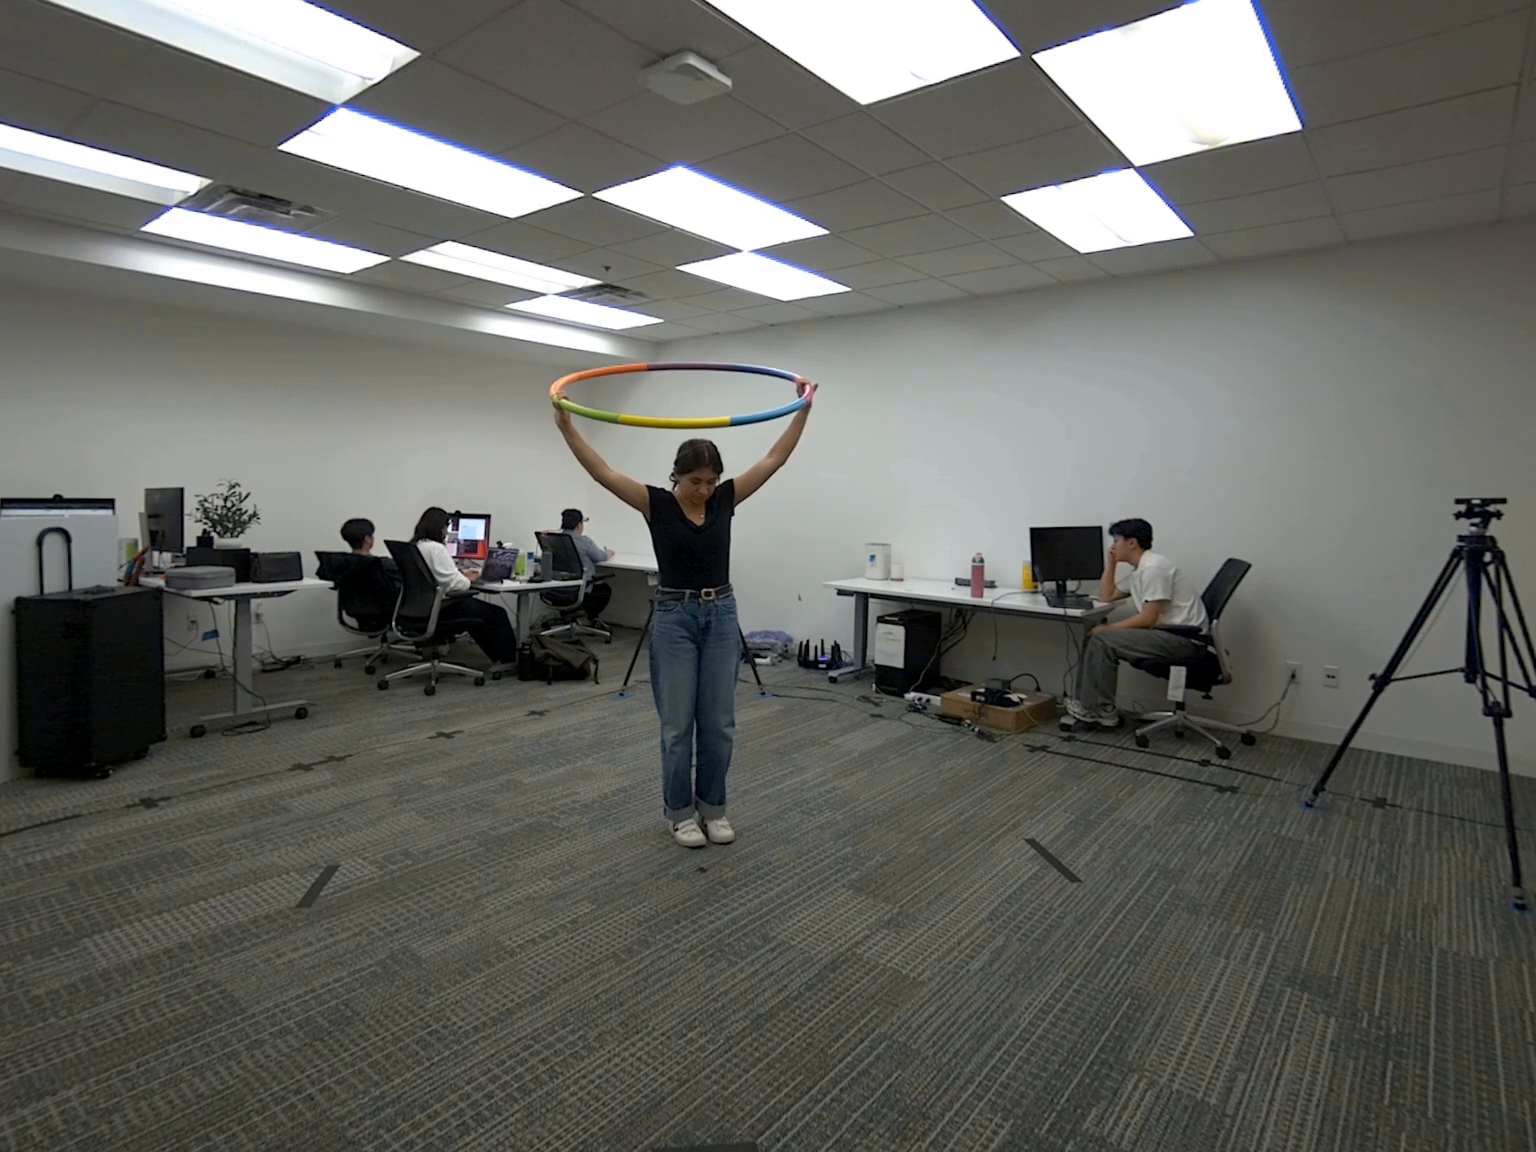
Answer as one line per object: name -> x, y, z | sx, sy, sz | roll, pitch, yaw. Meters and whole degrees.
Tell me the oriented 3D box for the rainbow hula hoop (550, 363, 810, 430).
rainbow hula hoop -> -0.314, -0.710, 3.230 | 0.978, 0.035, 1.001 | 0, 25, -2
